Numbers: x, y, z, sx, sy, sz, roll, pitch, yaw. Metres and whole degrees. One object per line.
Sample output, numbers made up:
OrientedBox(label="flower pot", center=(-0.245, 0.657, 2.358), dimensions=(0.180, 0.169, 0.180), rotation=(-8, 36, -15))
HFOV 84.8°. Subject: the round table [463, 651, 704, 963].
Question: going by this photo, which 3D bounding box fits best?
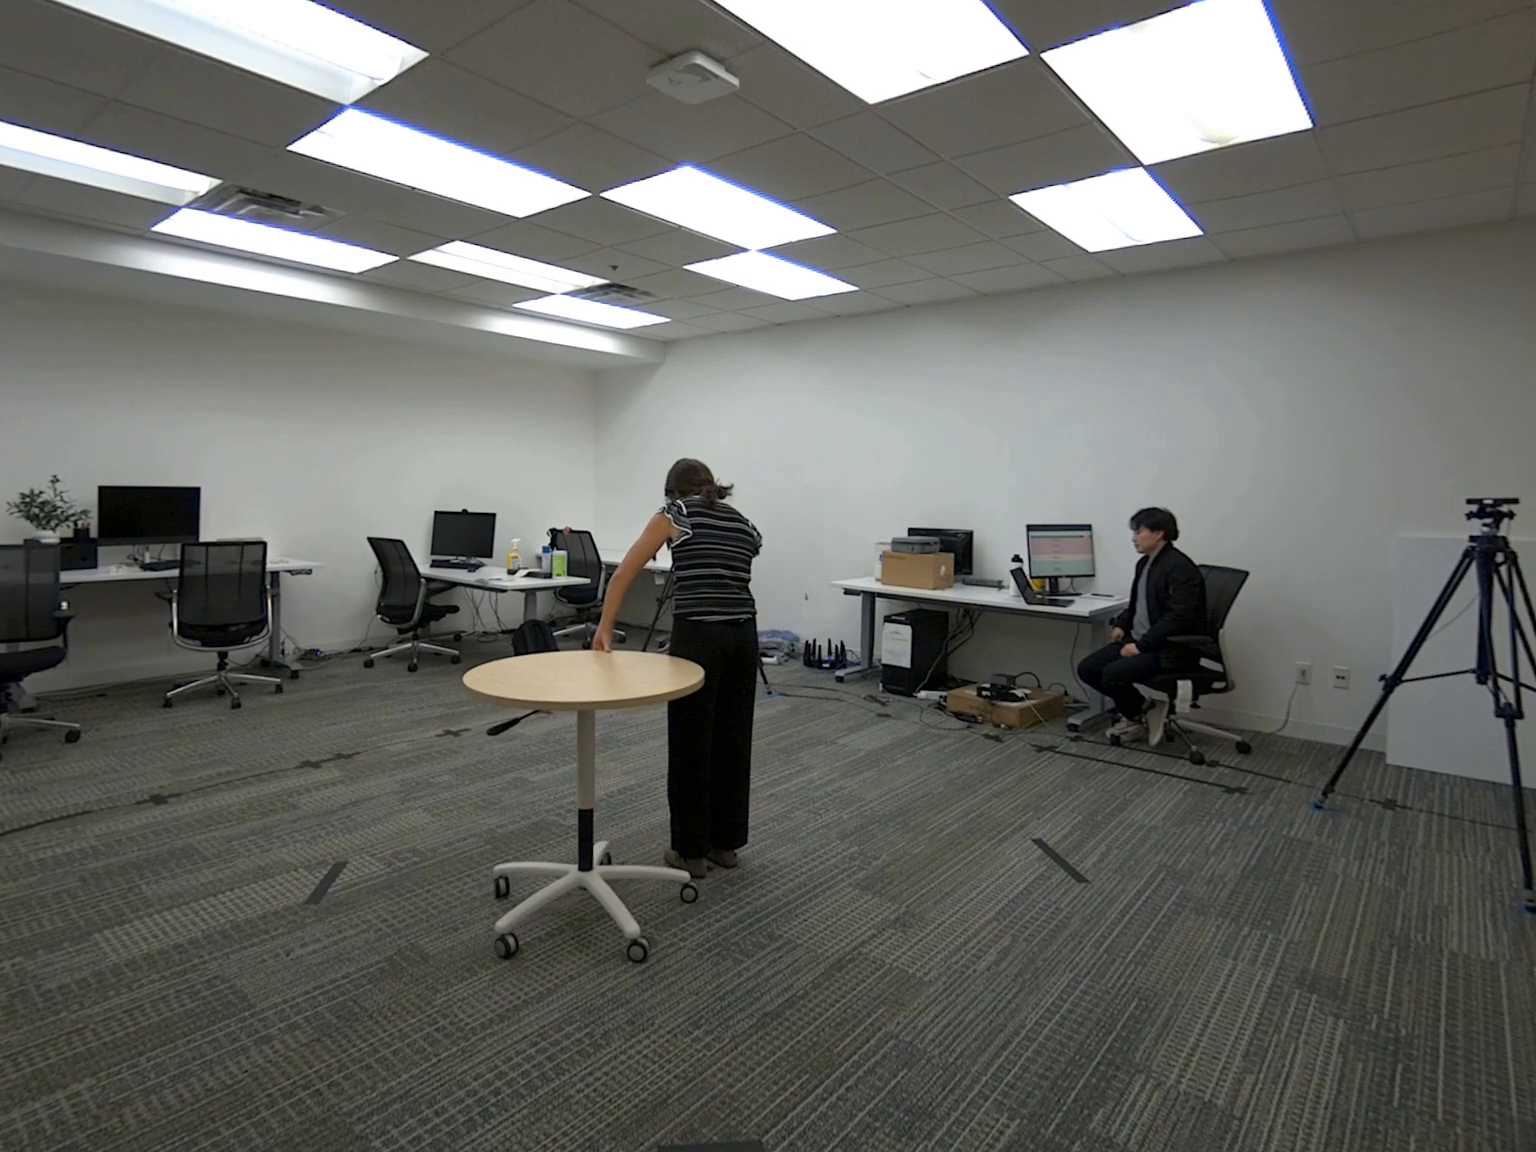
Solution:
OrientedBox(label="round table", center=(-0.596, 0.700, 2.772), dimensions=(0.784, 0.784, 0.789), rotation=(0, 4, -2))
